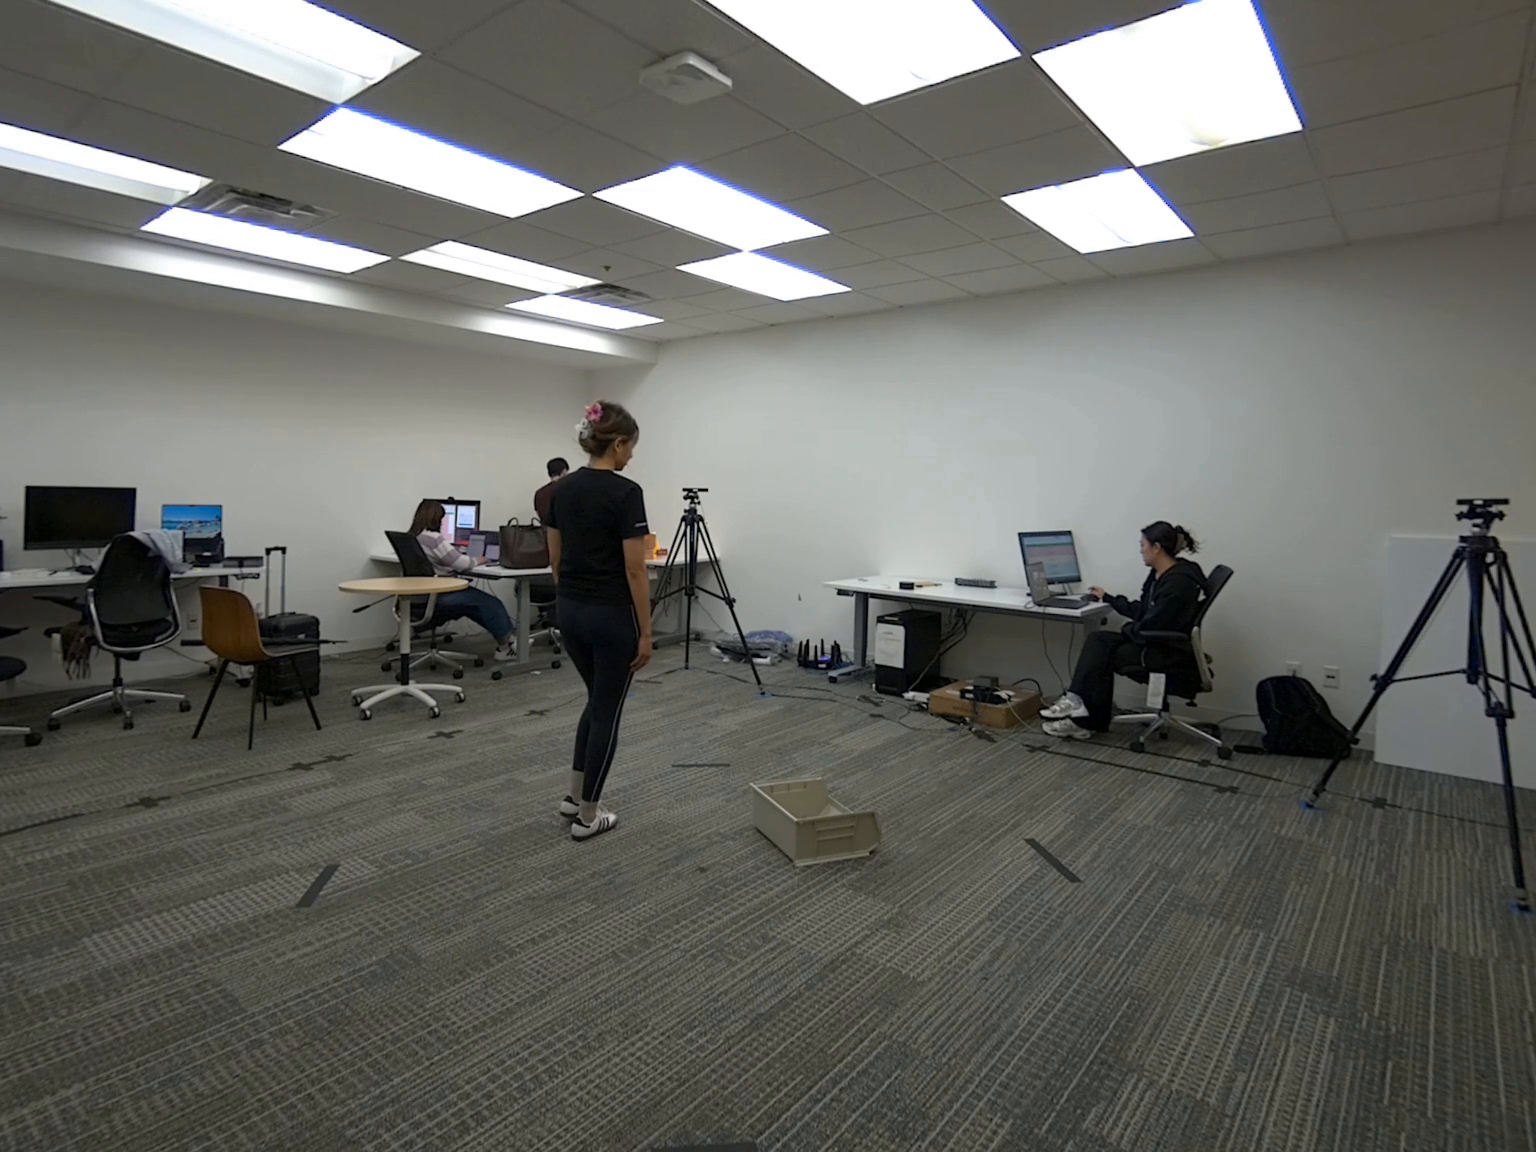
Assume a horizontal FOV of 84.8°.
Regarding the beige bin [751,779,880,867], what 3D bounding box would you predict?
[{"bbox_3d":[0.174,0.962,3.396,0.369,0.188,0.434,-2,6,-24],"label":"beige bin"}]
